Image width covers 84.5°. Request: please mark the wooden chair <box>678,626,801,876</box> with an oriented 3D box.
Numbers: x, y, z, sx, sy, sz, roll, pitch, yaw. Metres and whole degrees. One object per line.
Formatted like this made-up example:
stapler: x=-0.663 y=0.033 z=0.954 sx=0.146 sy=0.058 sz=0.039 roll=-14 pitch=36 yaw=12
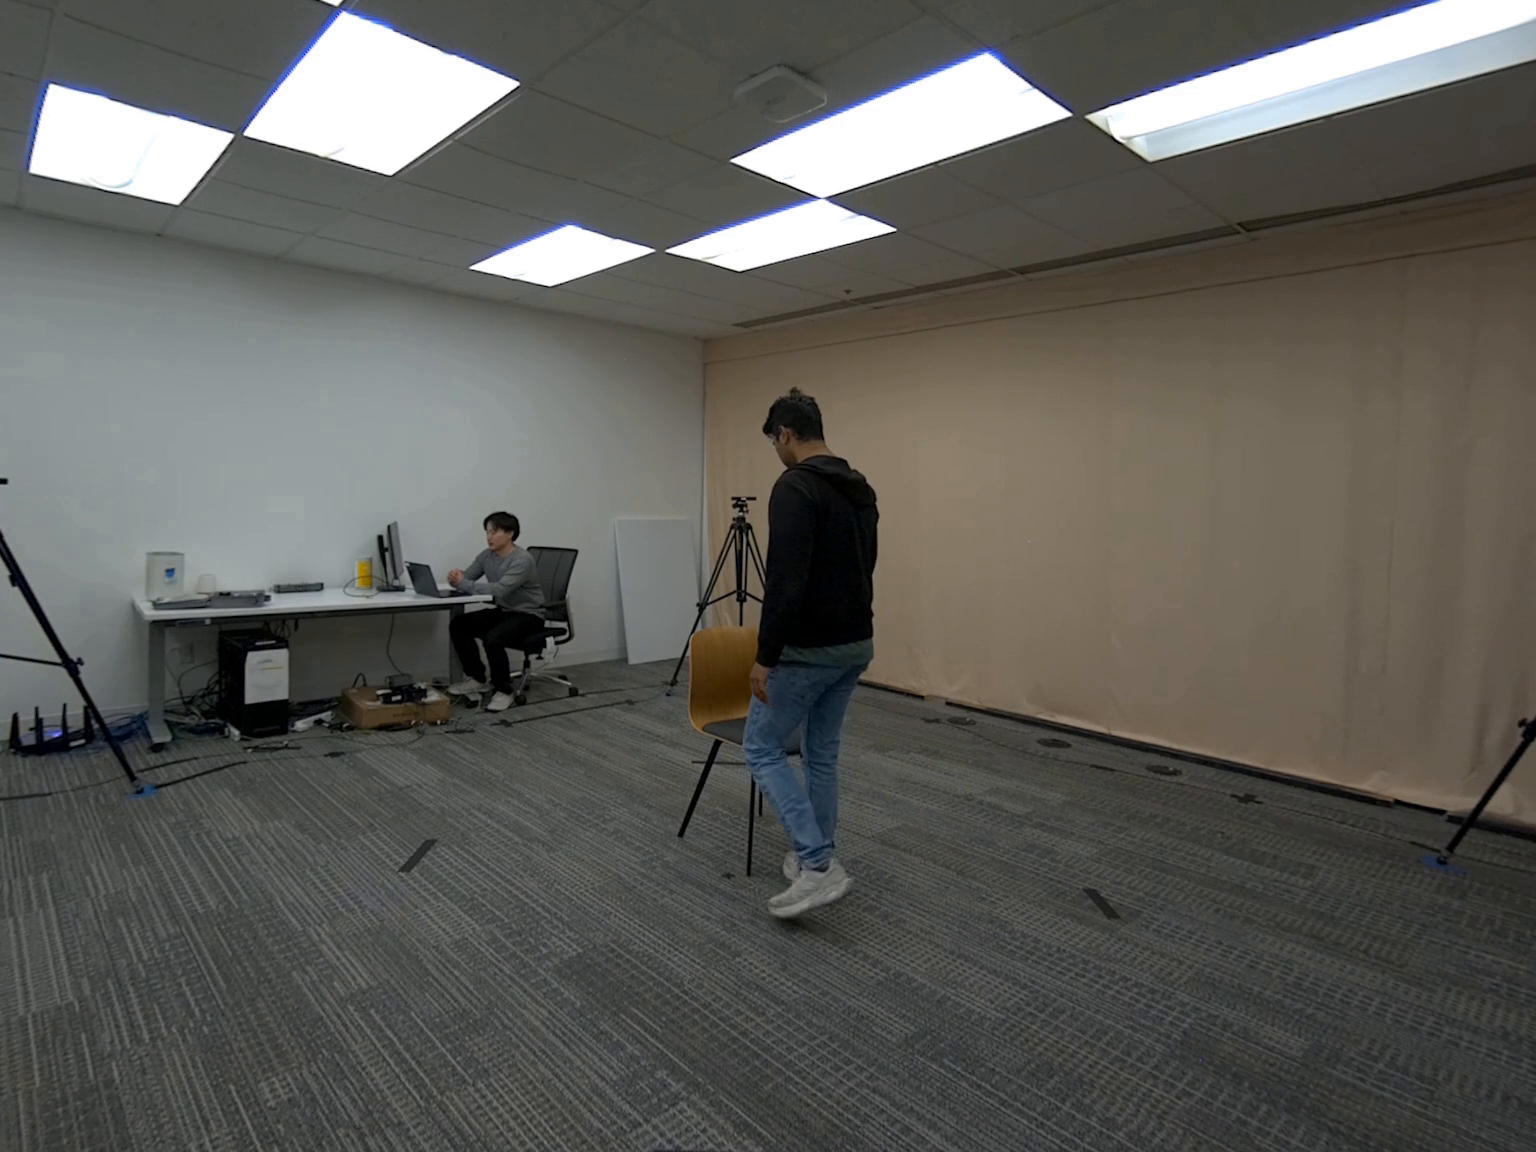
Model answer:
wooden chair: x=-0.046 y=0.657 z=3.380 sx=0.467 sy=0.878 sz=0.535 roll=0 pitch=-1 yaw=-40
